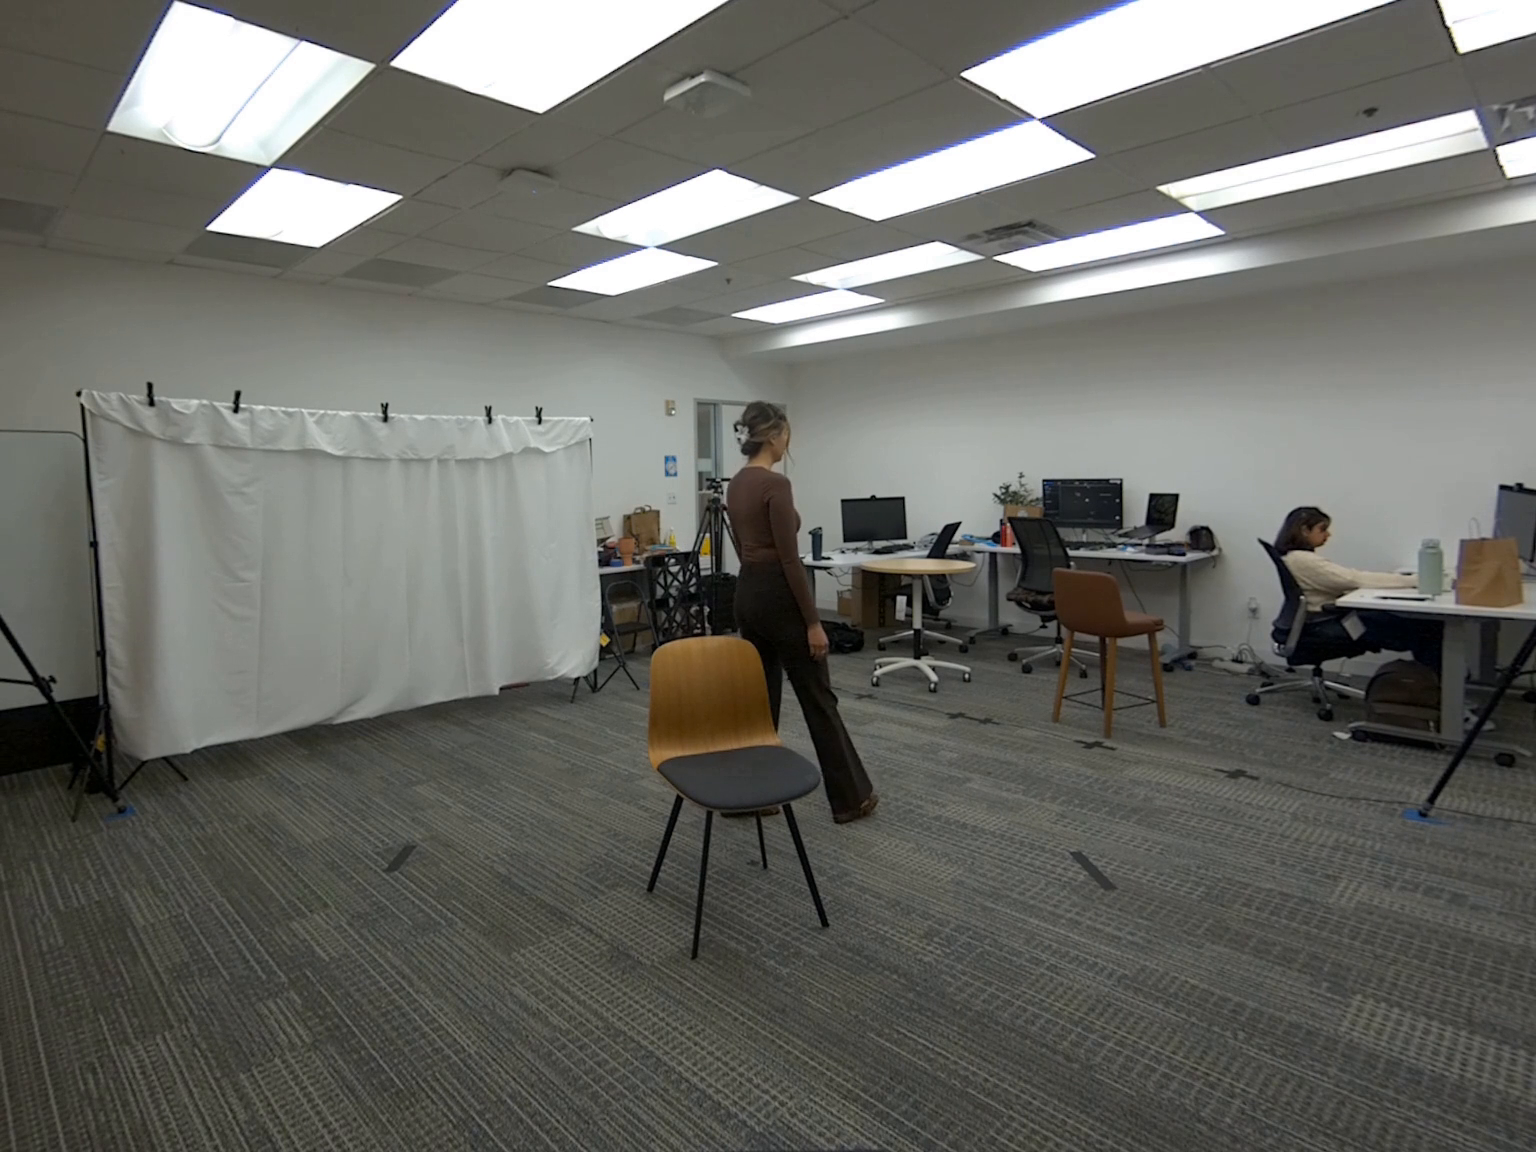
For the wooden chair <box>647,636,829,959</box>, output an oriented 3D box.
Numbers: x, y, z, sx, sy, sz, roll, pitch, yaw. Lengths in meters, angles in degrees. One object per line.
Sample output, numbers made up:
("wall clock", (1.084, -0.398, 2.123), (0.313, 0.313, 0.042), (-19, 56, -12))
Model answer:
("wooden chair", (-0.115, 0.663, 2.735), (0.468, 0.877, 0.534), (-3, 1, -25))
